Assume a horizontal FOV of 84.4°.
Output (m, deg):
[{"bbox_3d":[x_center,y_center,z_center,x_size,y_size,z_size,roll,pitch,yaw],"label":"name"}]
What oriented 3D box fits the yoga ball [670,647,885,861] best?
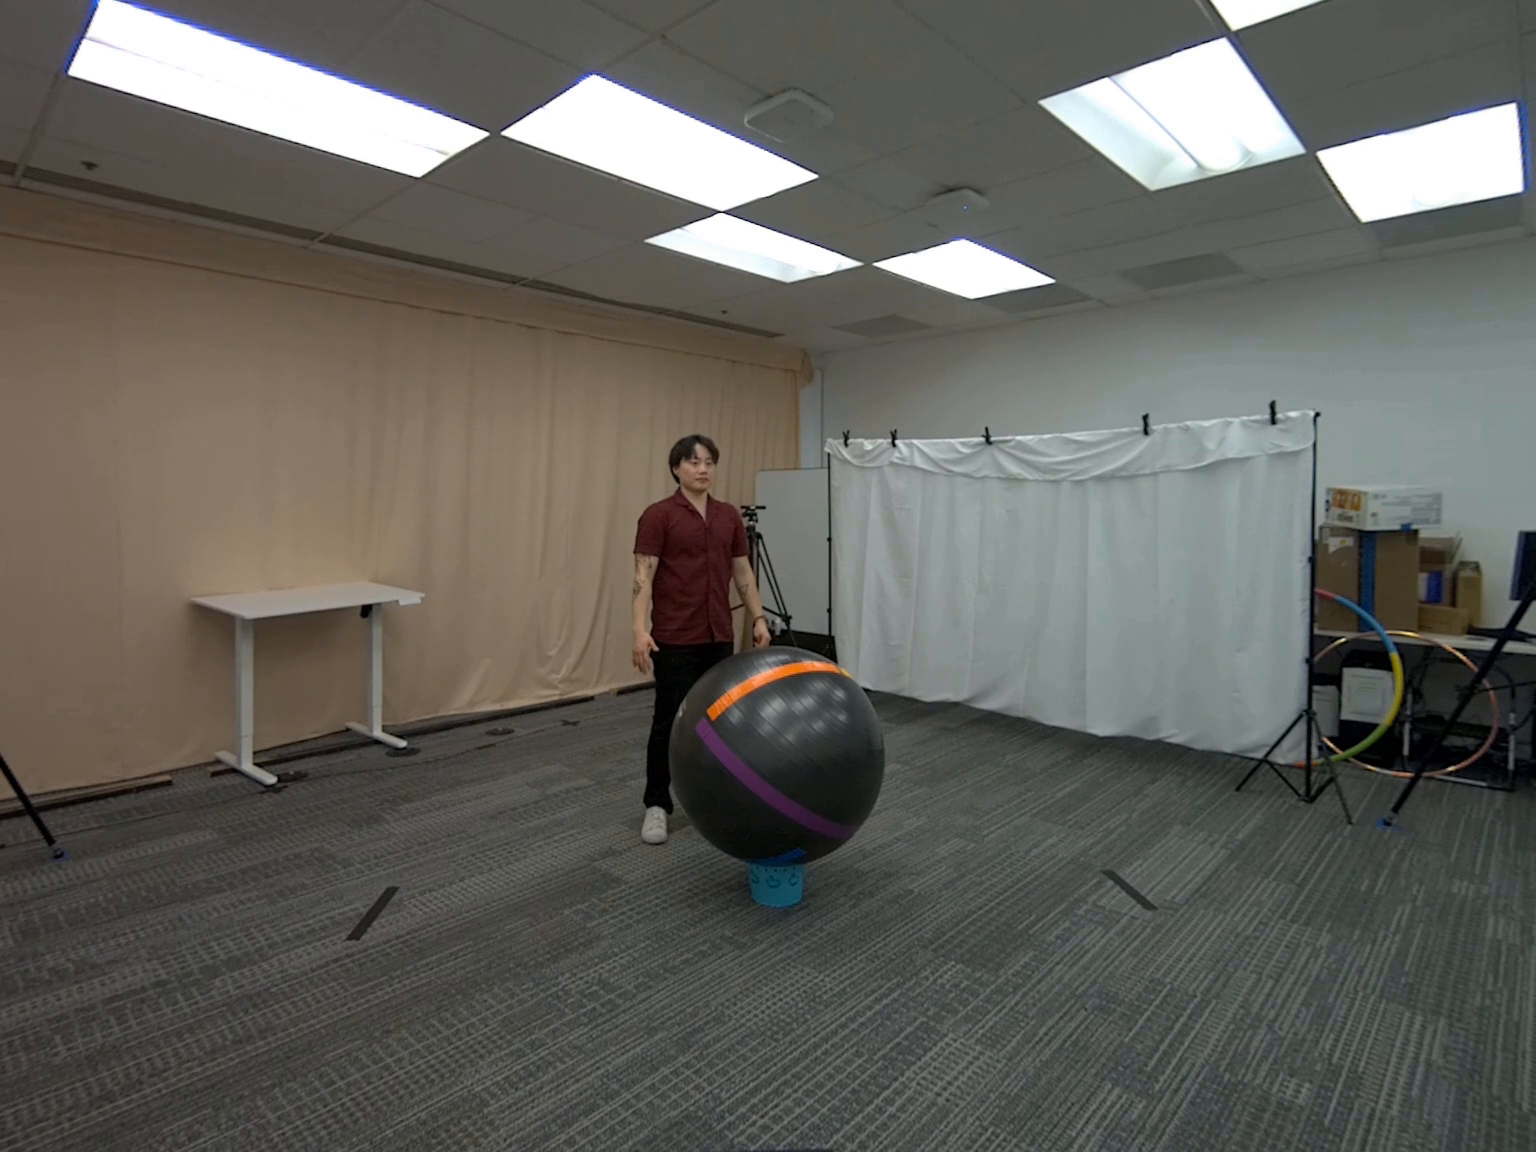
[{"bbox_3d":[0.033,0.635,2.989,0.757,0.756,0.761,0,4,-2],"label":"yoga ball"}]
